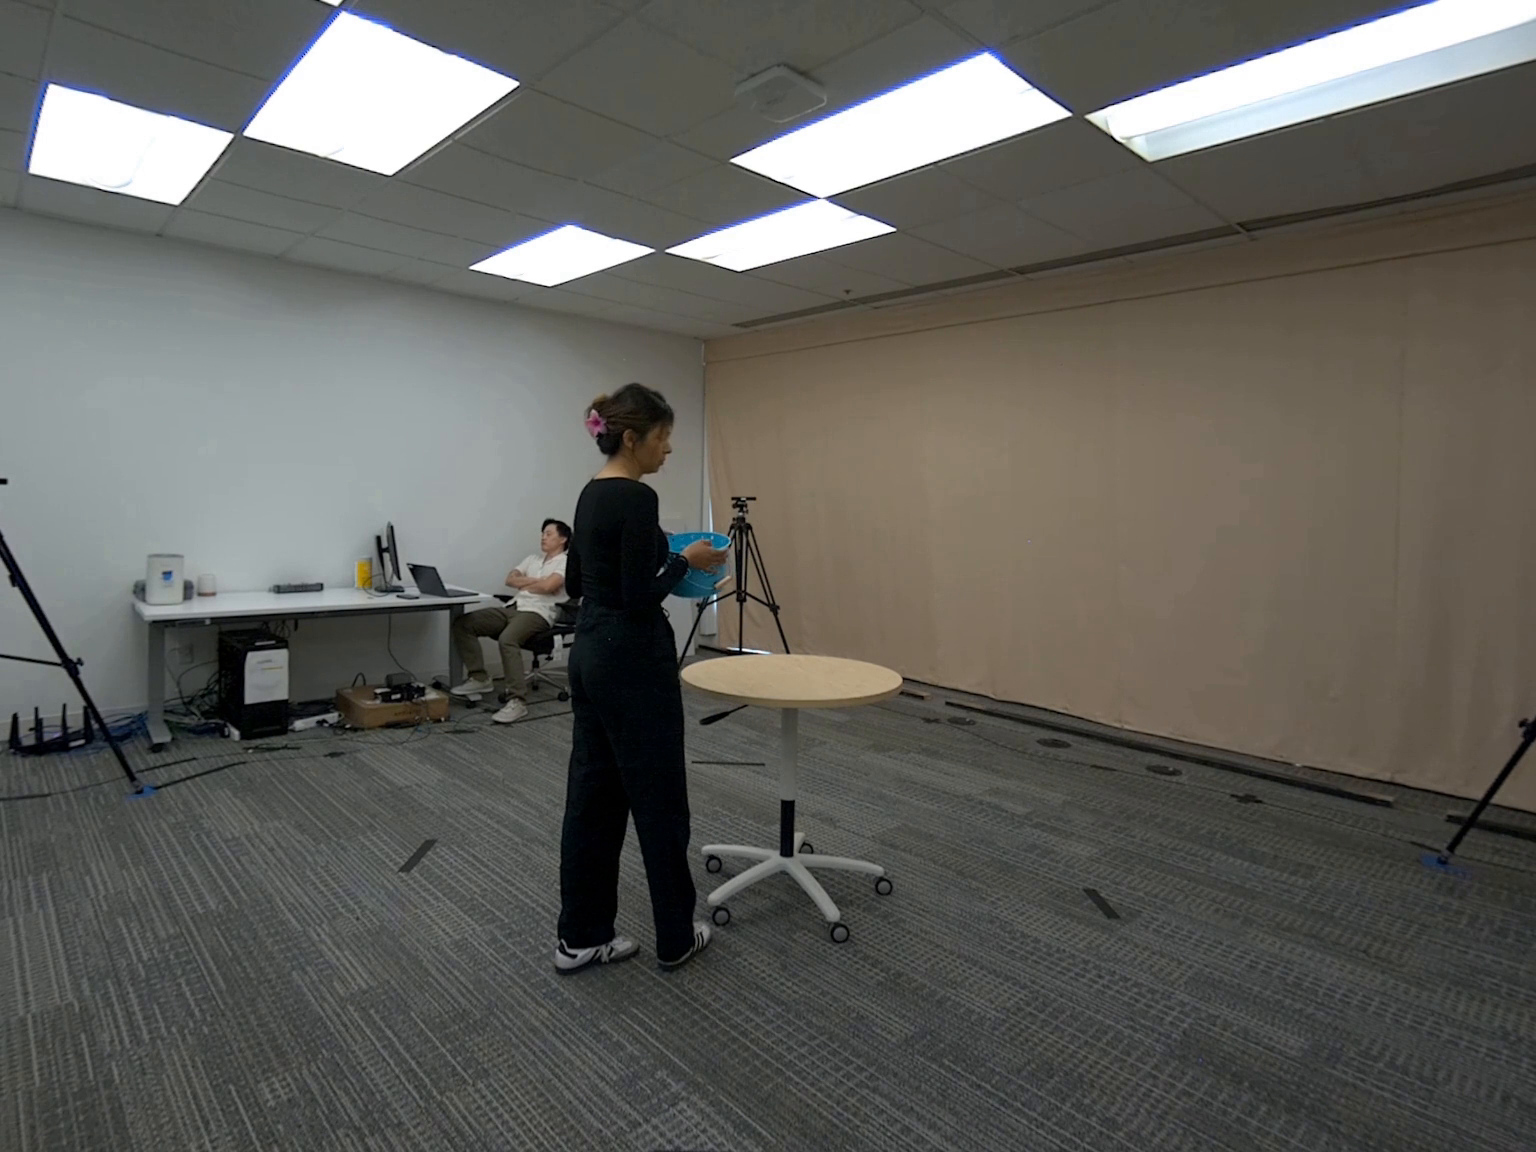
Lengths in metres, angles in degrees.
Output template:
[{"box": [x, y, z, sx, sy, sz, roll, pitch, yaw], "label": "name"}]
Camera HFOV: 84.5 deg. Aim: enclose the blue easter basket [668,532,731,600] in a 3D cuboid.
[{"box": [-0.238, -0.027, 2.608, 0.243, 0.154, 0.246, -2, 17, -1], "label": "blue easter basket"}]
